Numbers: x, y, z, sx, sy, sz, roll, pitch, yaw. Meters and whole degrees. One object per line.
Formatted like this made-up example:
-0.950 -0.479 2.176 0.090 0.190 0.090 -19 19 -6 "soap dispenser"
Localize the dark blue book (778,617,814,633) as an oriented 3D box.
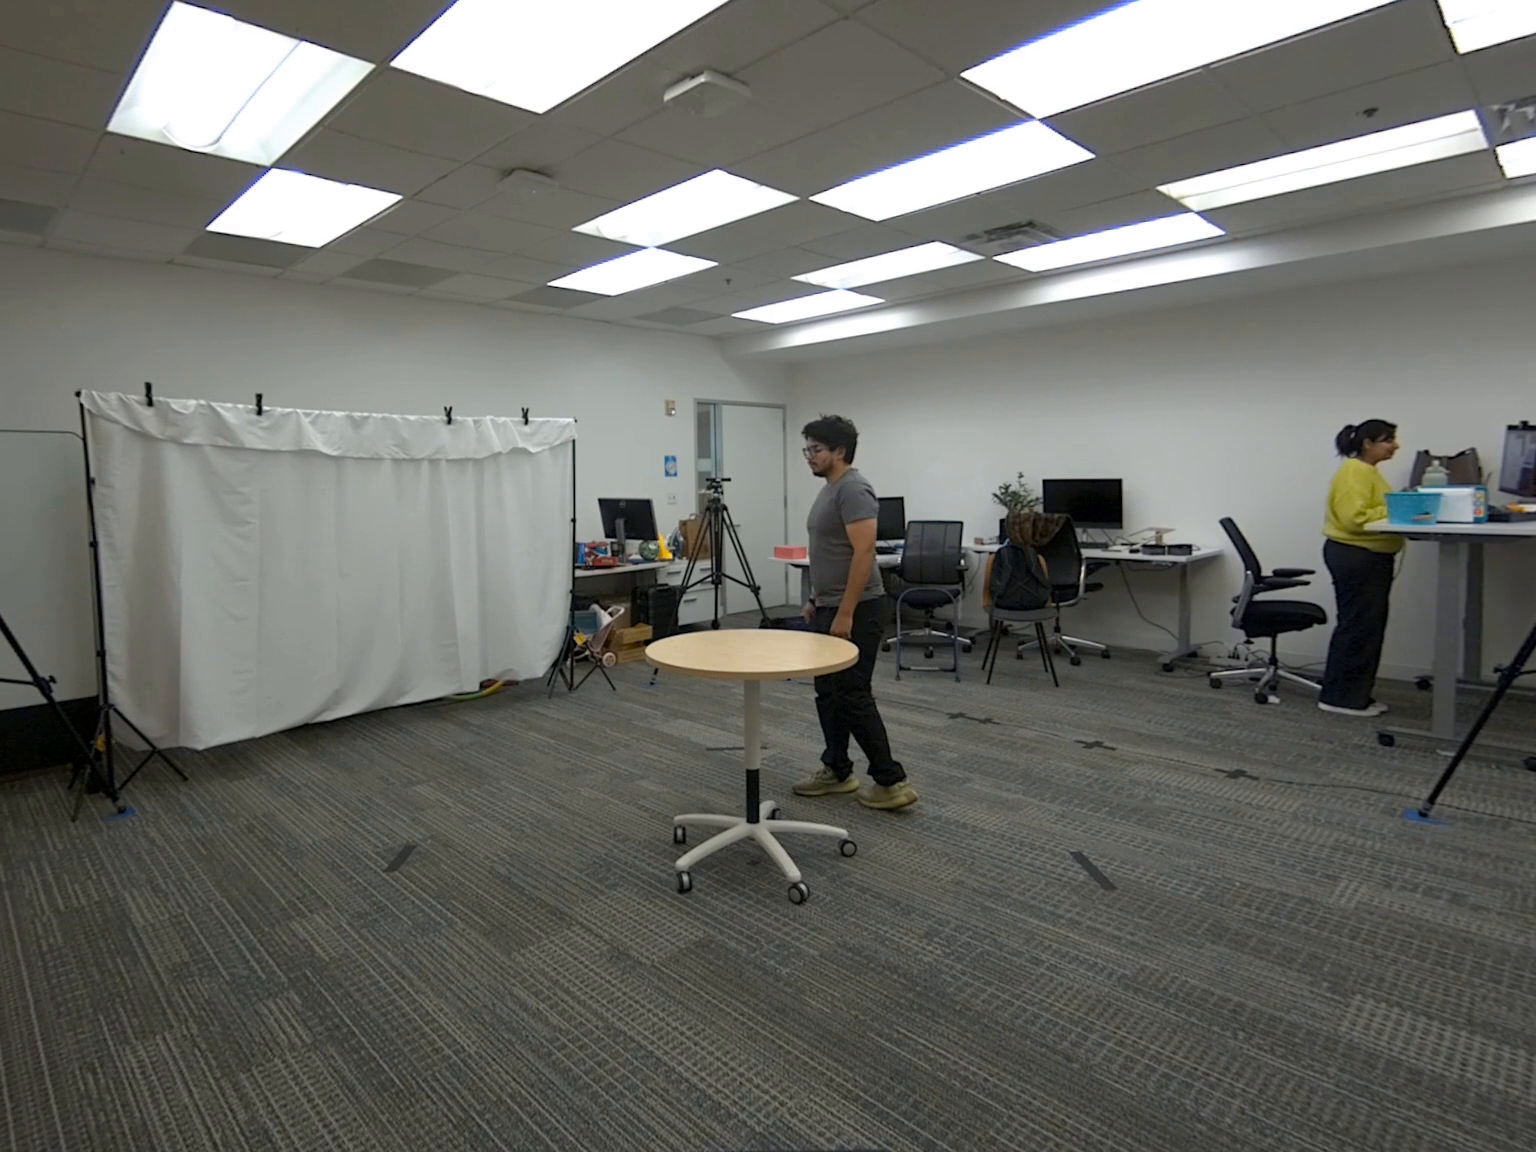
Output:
0.179 0.305 4.008 0.166 0.246 0.044 -5 -5 21 "dark blue book"
